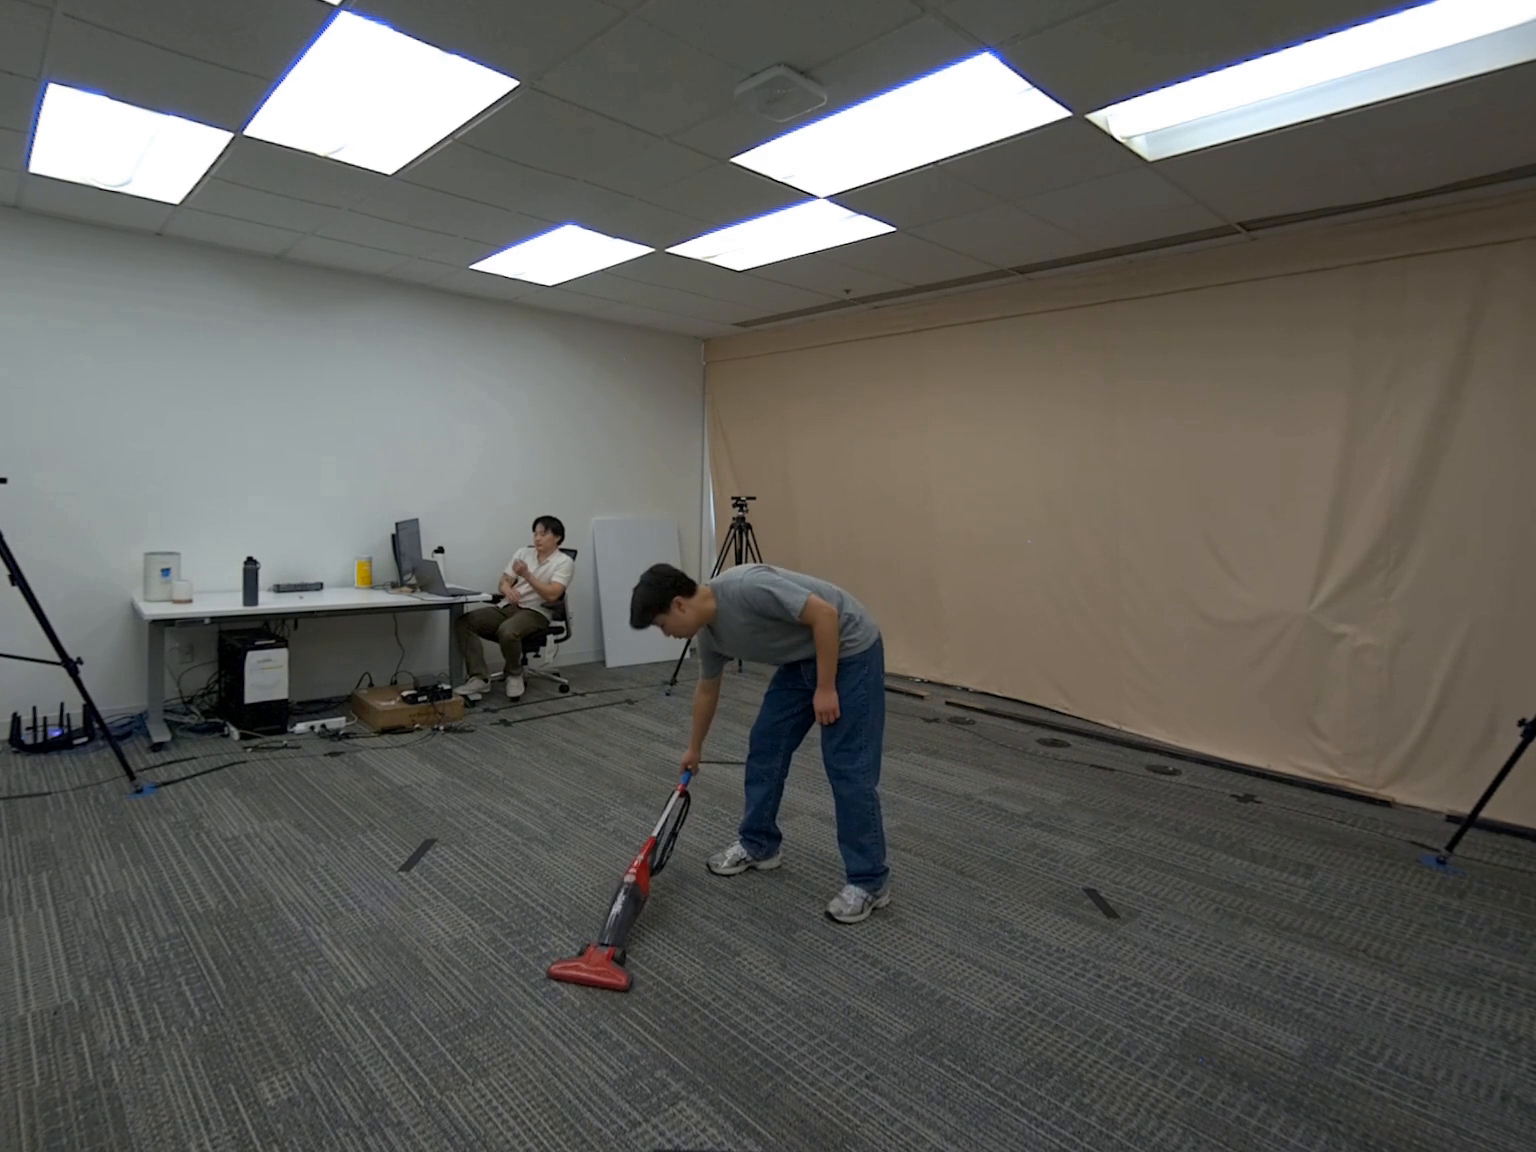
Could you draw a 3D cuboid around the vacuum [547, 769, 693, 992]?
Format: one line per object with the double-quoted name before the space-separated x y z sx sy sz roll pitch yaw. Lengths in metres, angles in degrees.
"vacuum" -0.397 0.956 2.937 0.255 0.142 1.052 -8 17 14
